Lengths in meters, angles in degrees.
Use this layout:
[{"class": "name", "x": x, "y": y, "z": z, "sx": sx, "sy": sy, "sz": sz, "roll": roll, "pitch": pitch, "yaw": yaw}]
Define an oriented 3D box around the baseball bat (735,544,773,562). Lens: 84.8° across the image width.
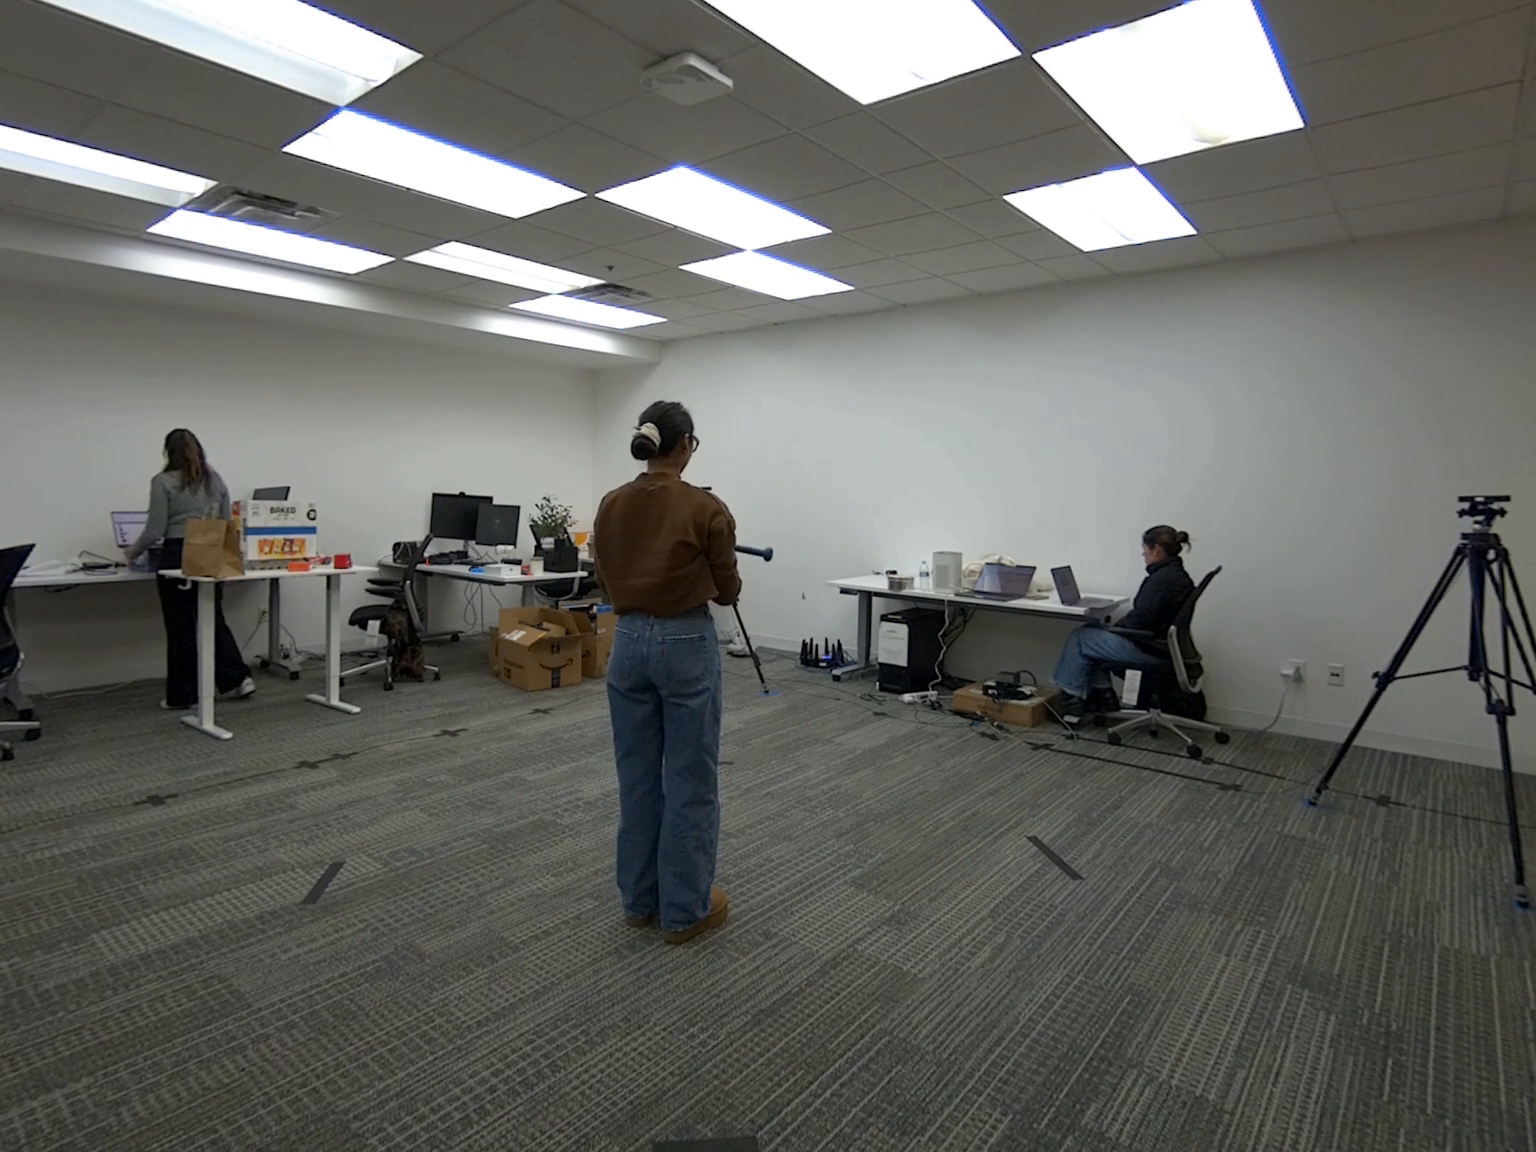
[{"class": "baseball bat", "x": -0.250, "y": -0.130, "z": 2.976, "sx": 0.556, "sy": 0.088, "sz": 0.087, "roll": 13, "pitch": 8, "yaw": 19}]
